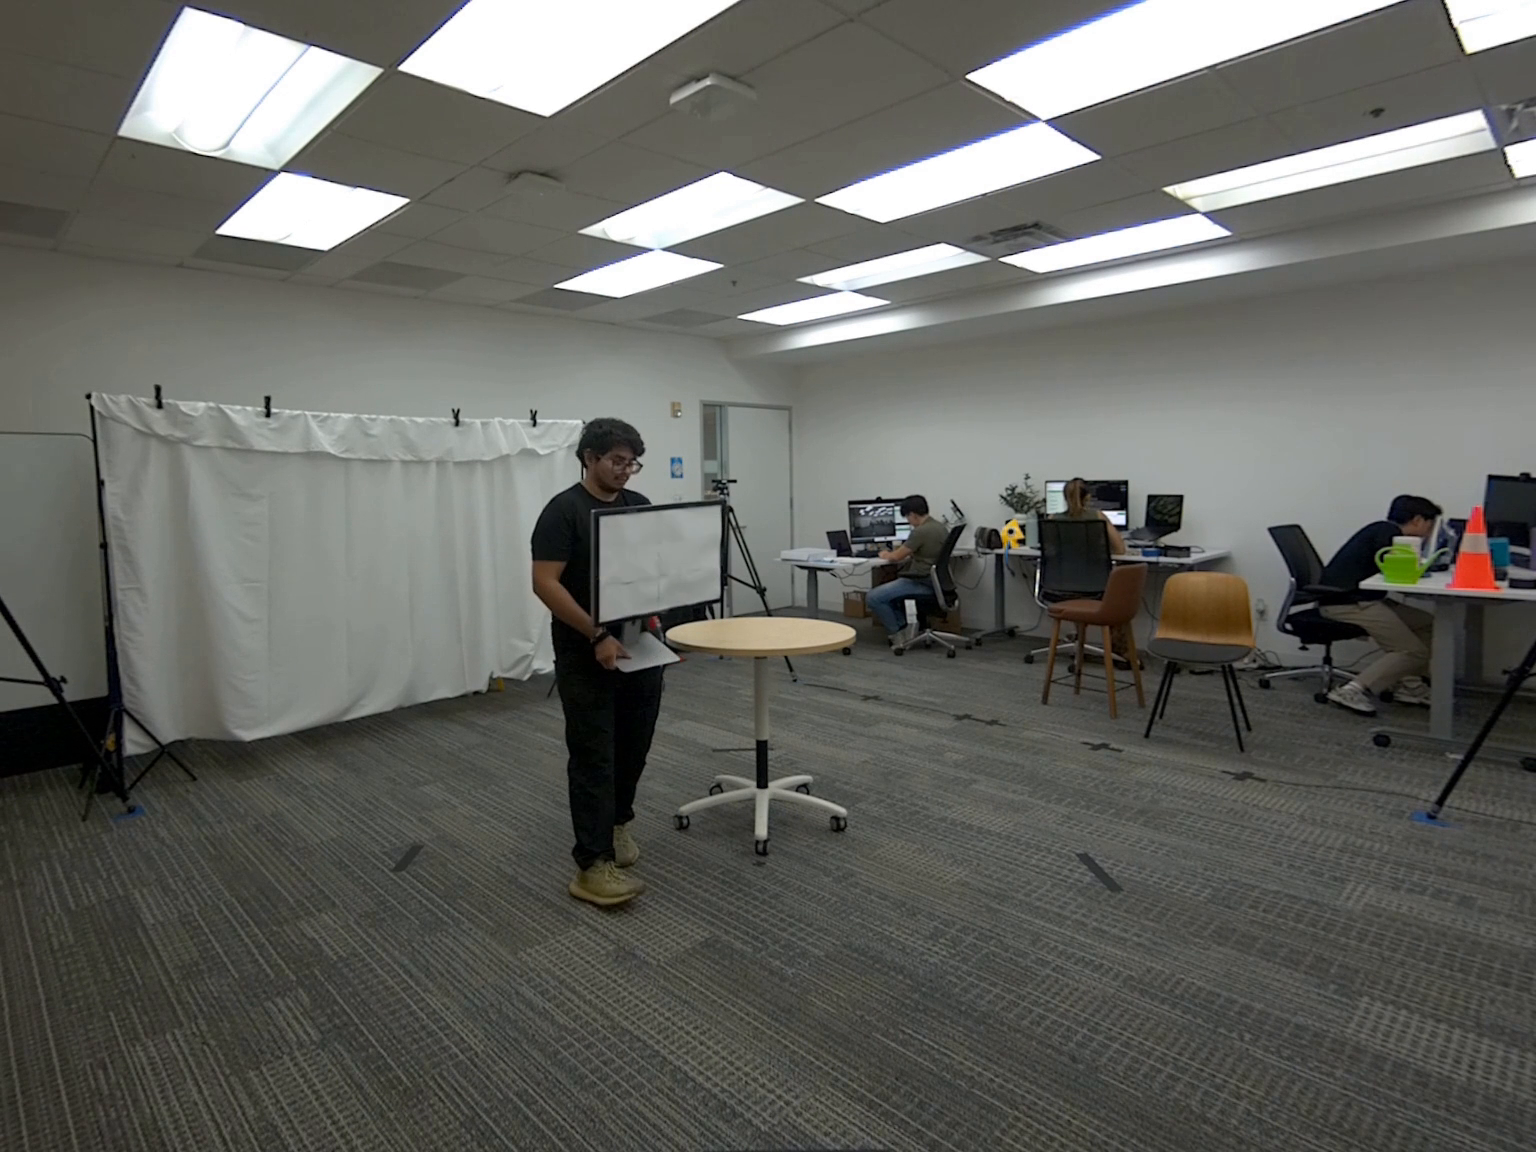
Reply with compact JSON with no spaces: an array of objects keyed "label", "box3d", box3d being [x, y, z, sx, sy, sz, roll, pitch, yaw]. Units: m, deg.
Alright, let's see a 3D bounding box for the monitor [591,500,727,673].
[{"label":"monitor","box3d":[-0.410,0.013,2.855,0.218,0.548,0.551,19,19,40]}]
